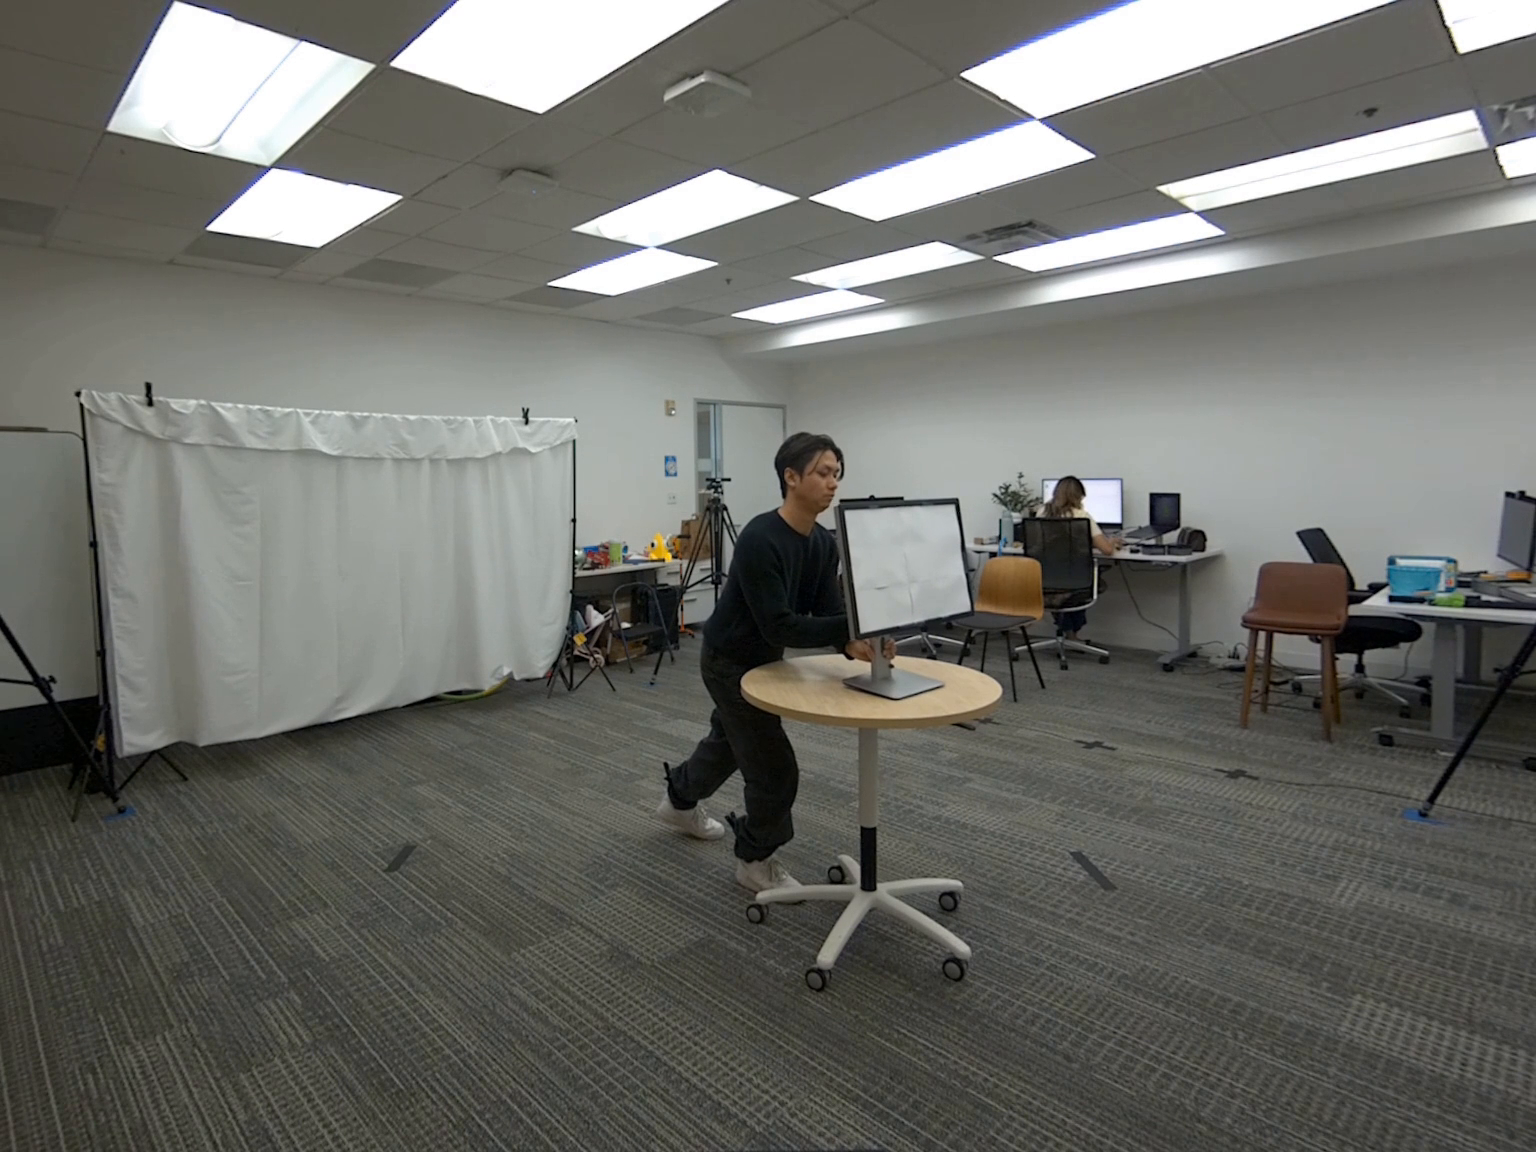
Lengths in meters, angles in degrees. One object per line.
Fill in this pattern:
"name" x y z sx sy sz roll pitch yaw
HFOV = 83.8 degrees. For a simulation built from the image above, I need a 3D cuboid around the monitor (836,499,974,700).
"monitor" 0.375 0.052 2.472 0.181 0.512 0.515 16 13 43
